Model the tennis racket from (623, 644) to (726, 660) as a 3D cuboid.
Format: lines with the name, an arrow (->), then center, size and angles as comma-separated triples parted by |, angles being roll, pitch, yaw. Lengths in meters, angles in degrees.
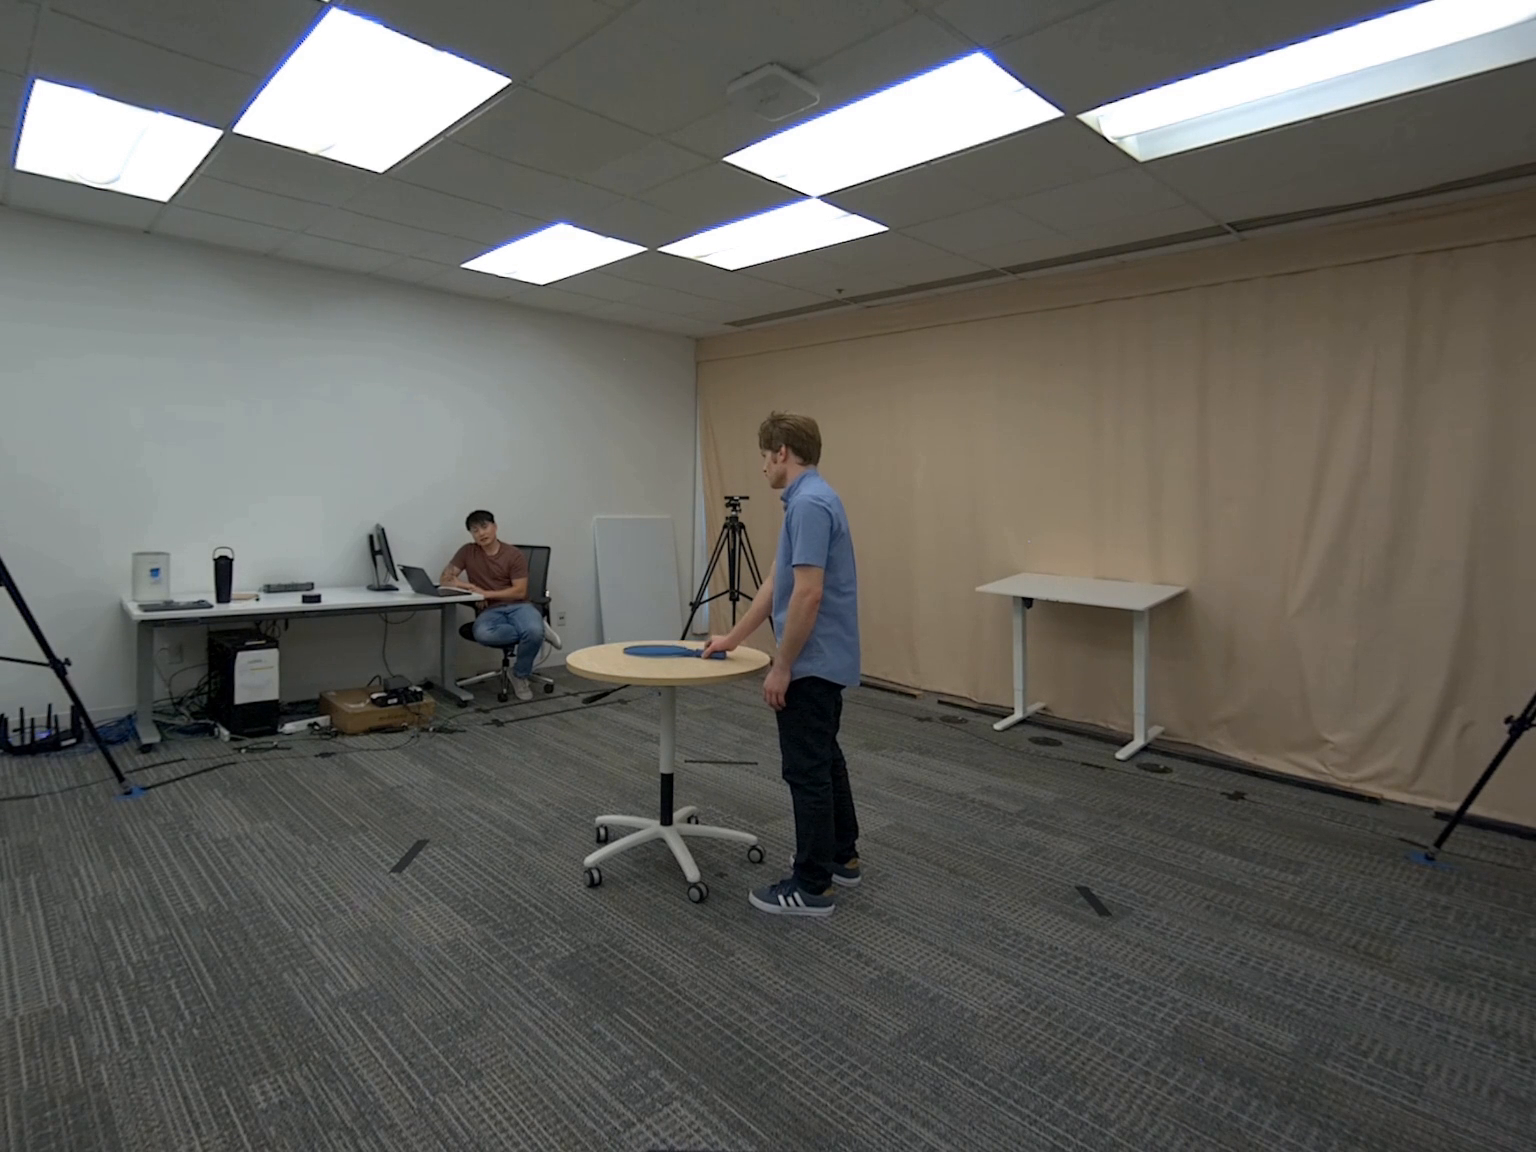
tennis racket -> -0.367, 0.294, 3.242 | 0.441, 0.031, 0.210 | 2, 6, 25
